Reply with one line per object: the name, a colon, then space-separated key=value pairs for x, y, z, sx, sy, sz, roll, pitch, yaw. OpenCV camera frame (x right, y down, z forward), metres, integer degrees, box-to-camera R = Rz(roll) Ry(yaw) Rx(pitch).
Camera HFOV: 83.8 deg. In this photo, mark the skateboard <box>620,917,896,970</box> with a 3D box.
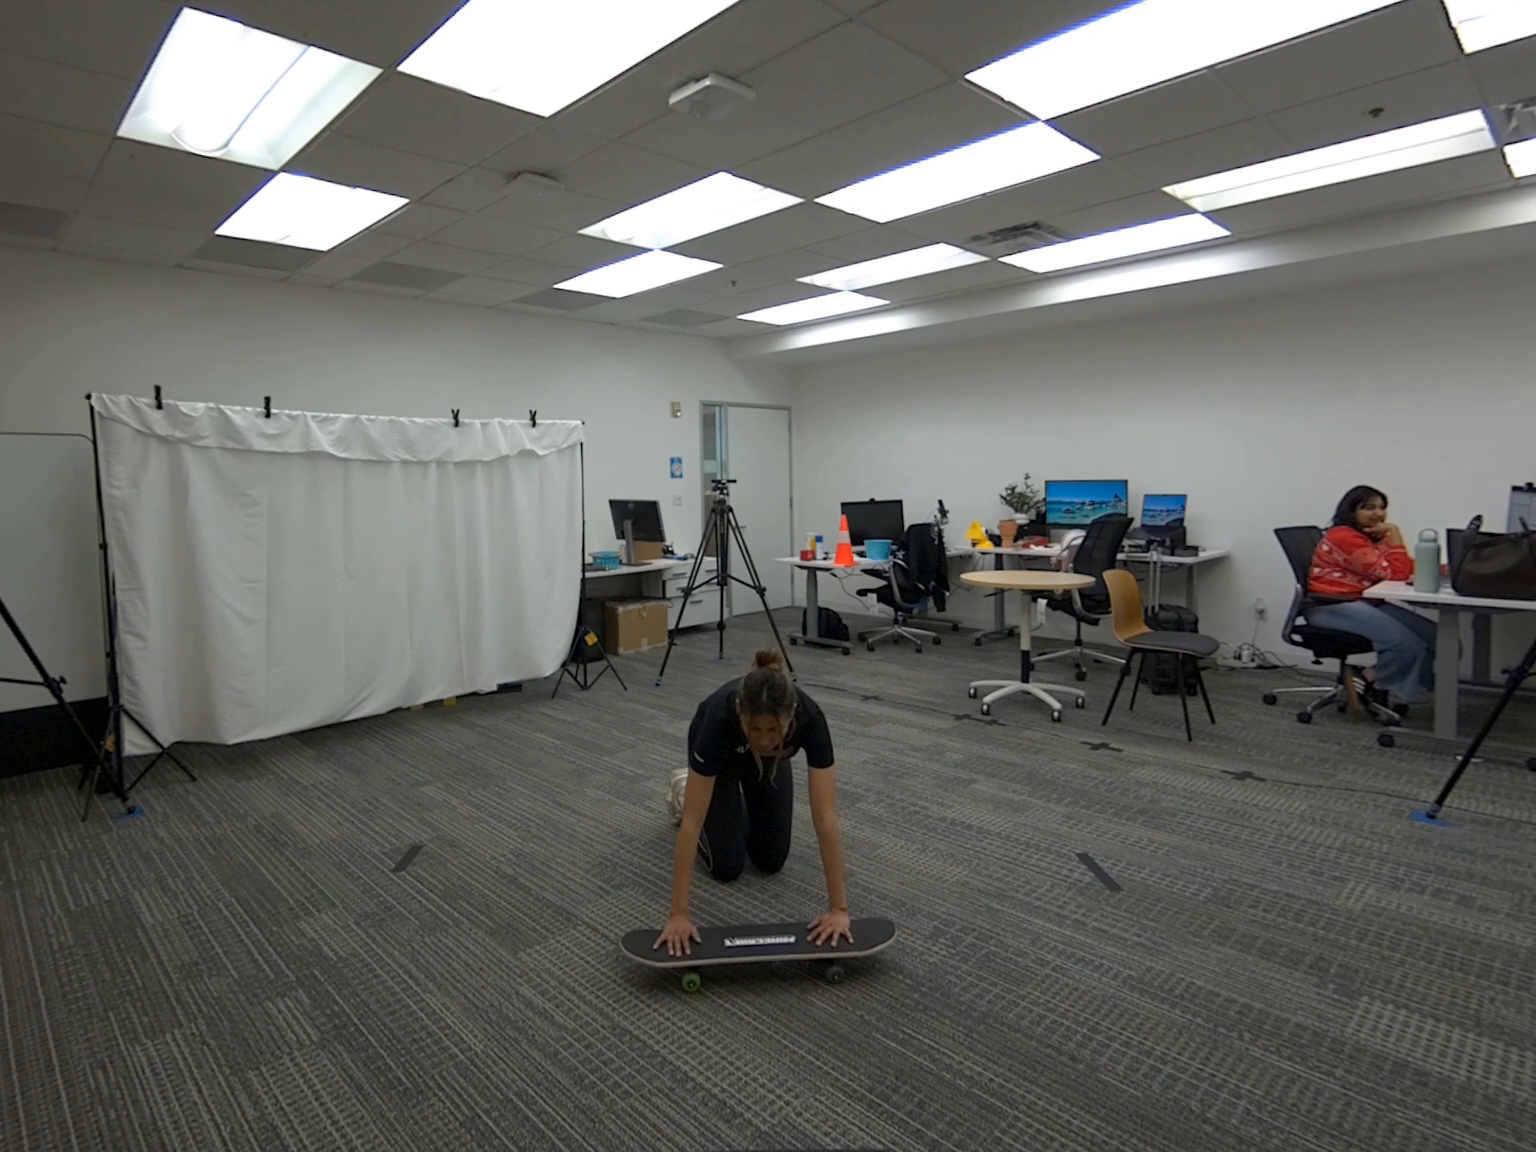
skateboard: x=-0.026 y=1.064 z=2.437 sx=0.782 sy=0.110 sz=0.195 roll=-2 pitch=4 yaw=-4
